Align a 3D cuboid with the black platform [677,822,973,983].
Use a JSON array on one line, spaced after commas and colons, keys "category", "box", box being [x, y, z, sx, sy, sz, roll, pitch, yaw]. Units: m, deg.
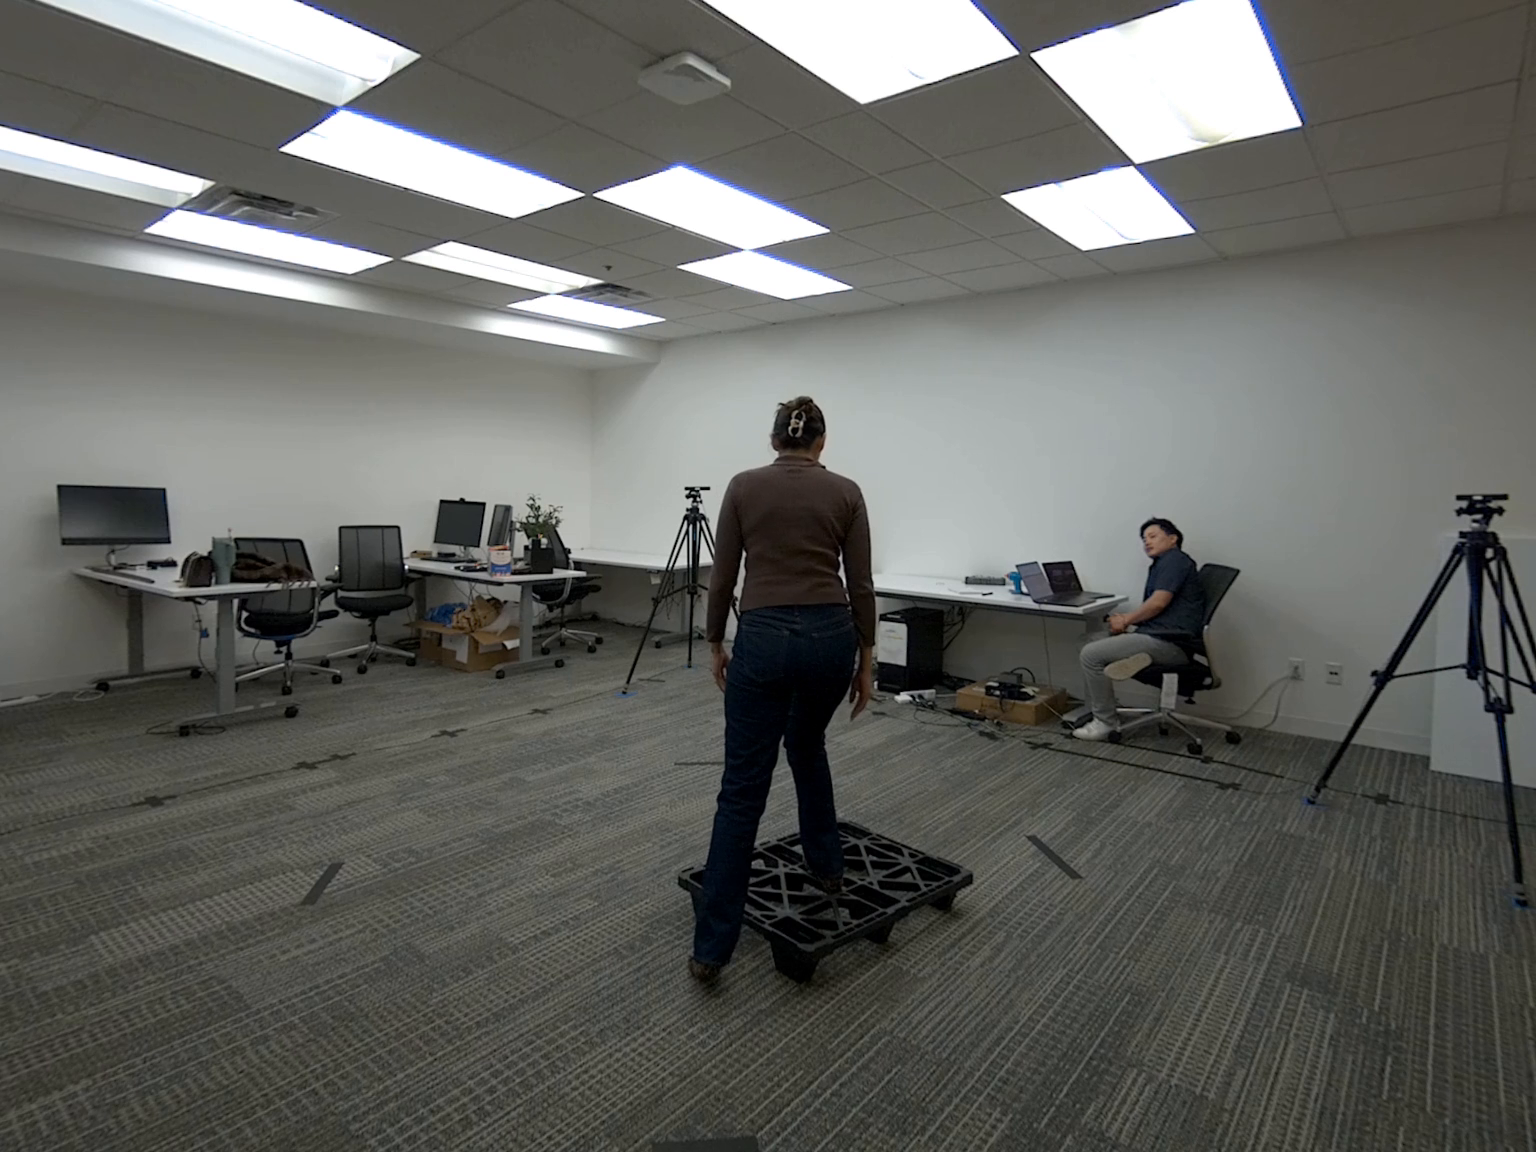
[{"category": "black platform", "box": [0.182, 1.037, 2.793, 0.781, 0.143, 0.626, -4, 7, -42]}]
